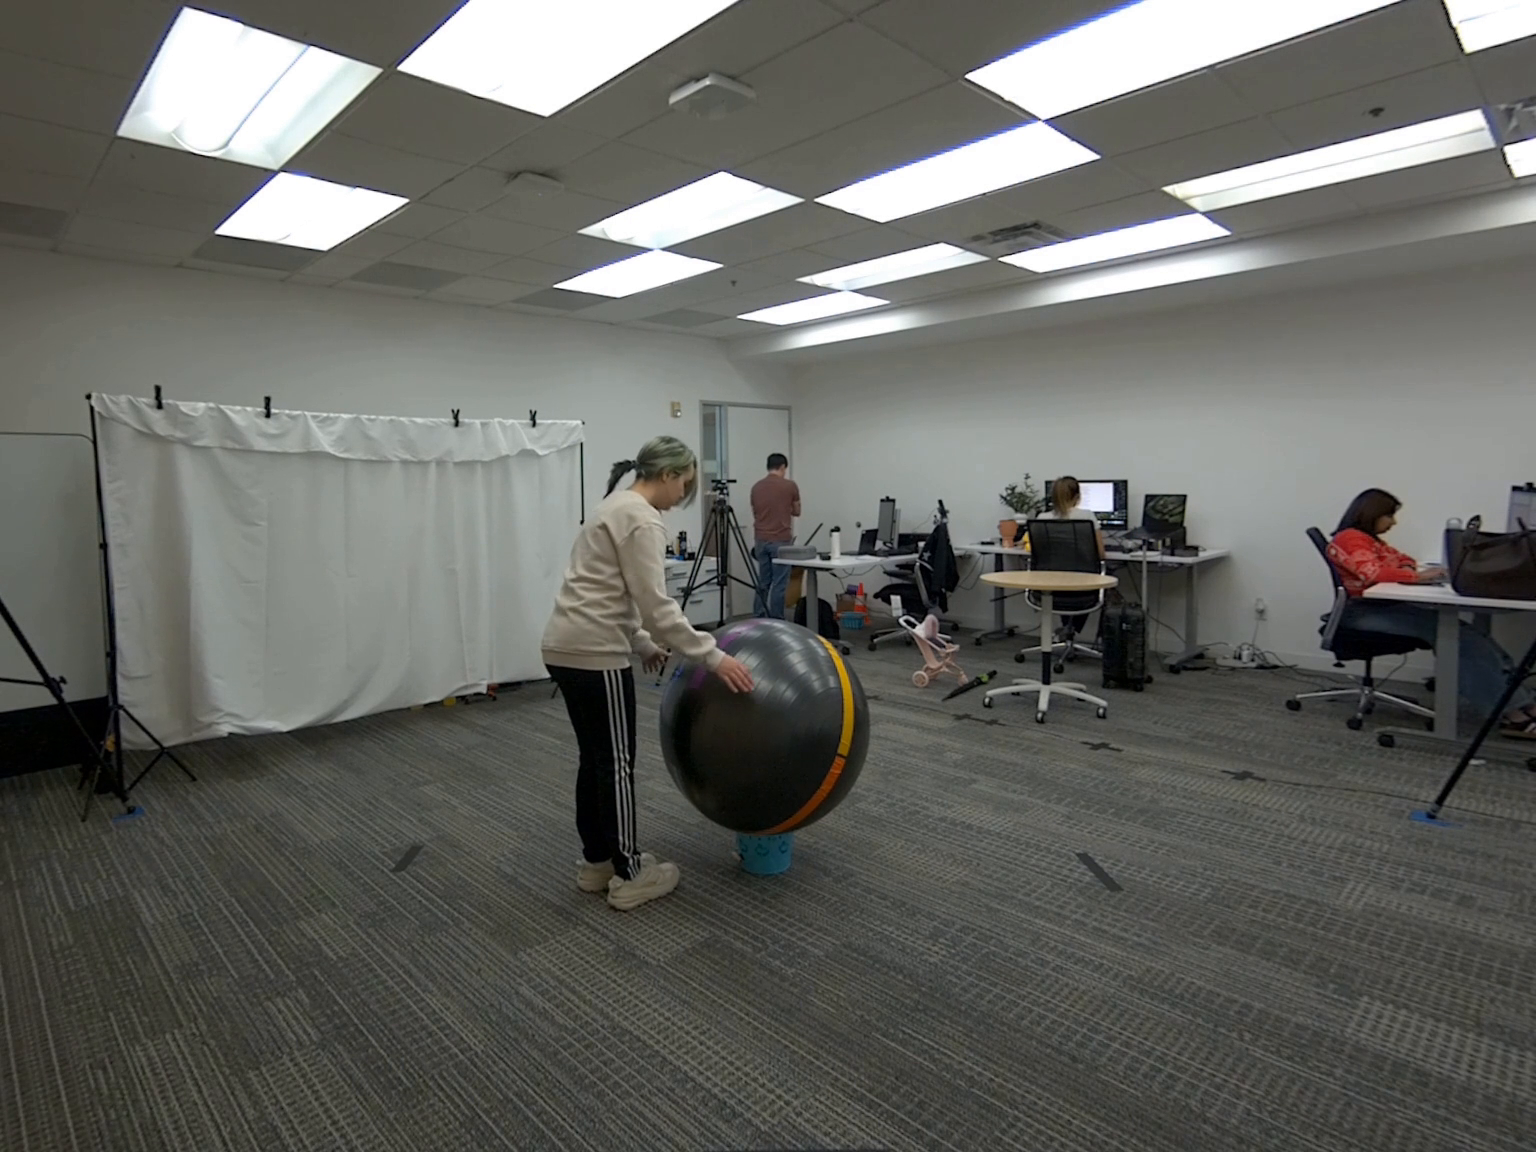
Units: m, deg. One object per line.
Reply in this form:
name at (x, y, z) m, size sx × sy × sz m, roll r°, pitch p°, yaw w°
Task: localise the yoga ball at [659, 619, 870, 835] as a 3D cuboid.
yoga ball at (-0.012, 0.538, 3.085) m, size 0.757 × 0.755 × 0.762 m, roll -1°, pitch 5°, yaw -2°
